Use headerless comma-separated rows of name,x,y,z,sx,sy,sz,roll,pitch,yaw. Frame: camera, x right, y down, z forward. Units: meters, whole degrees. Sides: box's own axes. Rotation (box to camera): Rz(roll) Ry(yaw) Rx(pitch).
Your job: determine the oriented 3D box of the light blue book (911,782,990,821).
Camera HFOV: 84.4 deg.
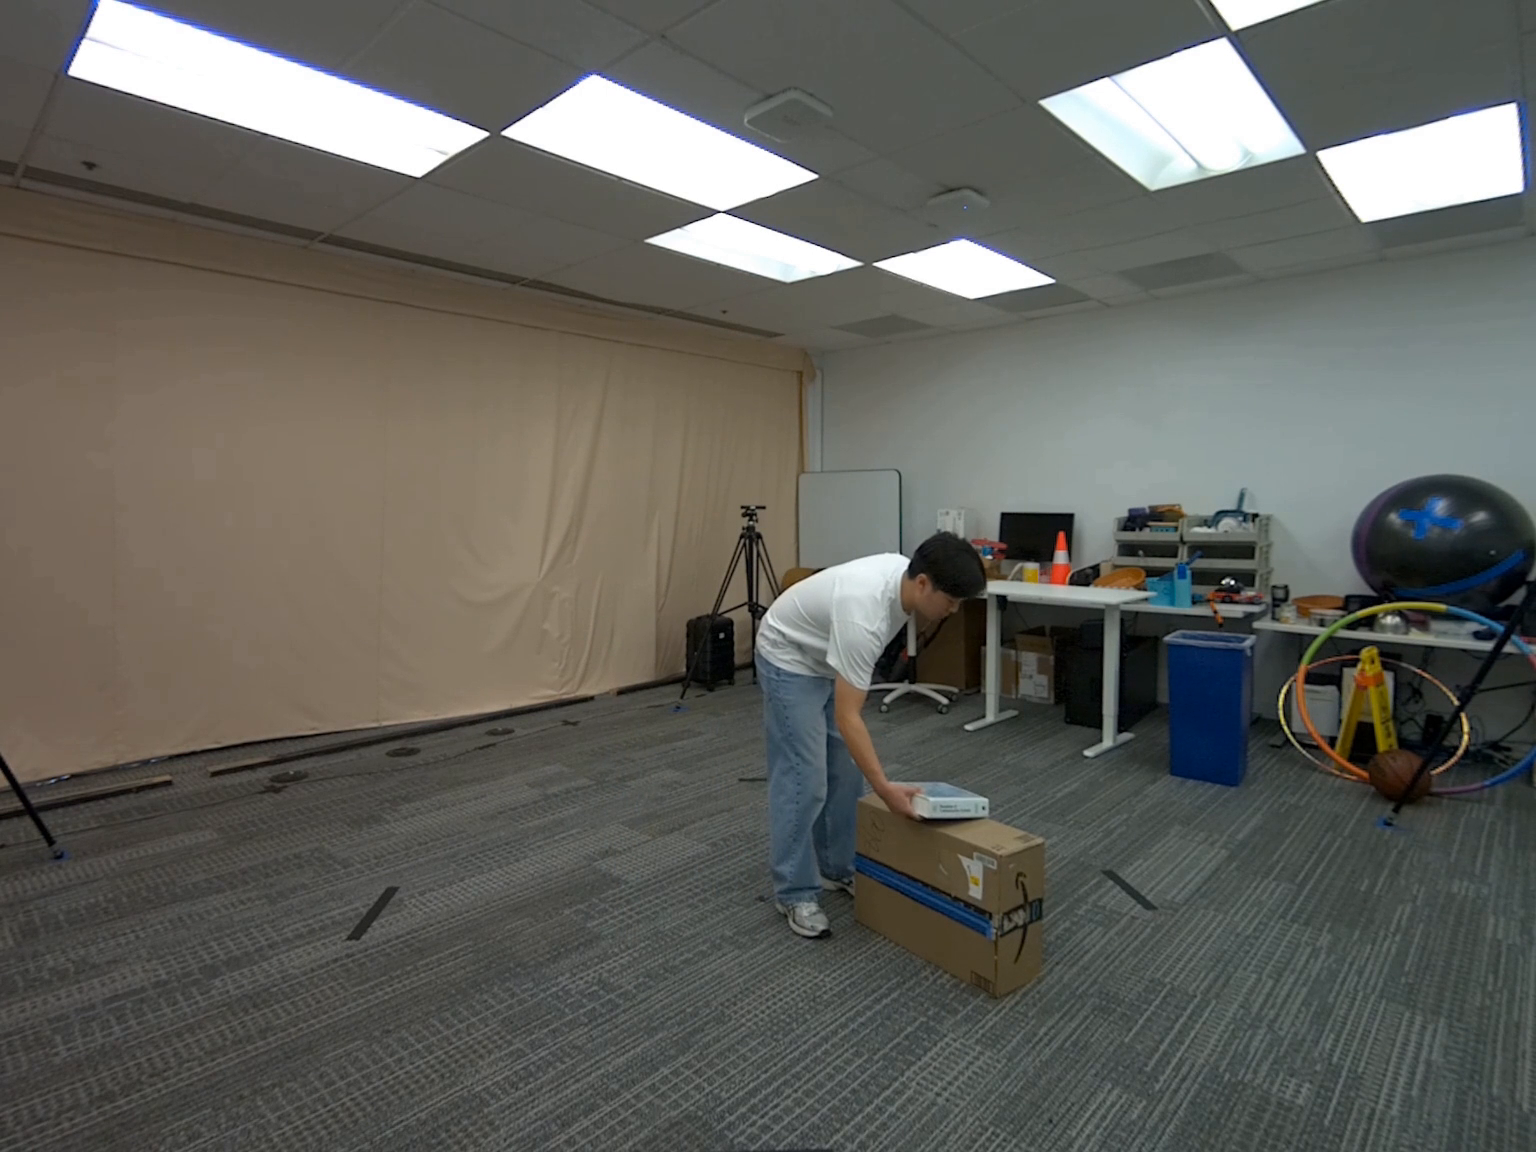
light blue book,0.543,0.701,2.649,0.253,0.059,0.197,9,-2,-35
